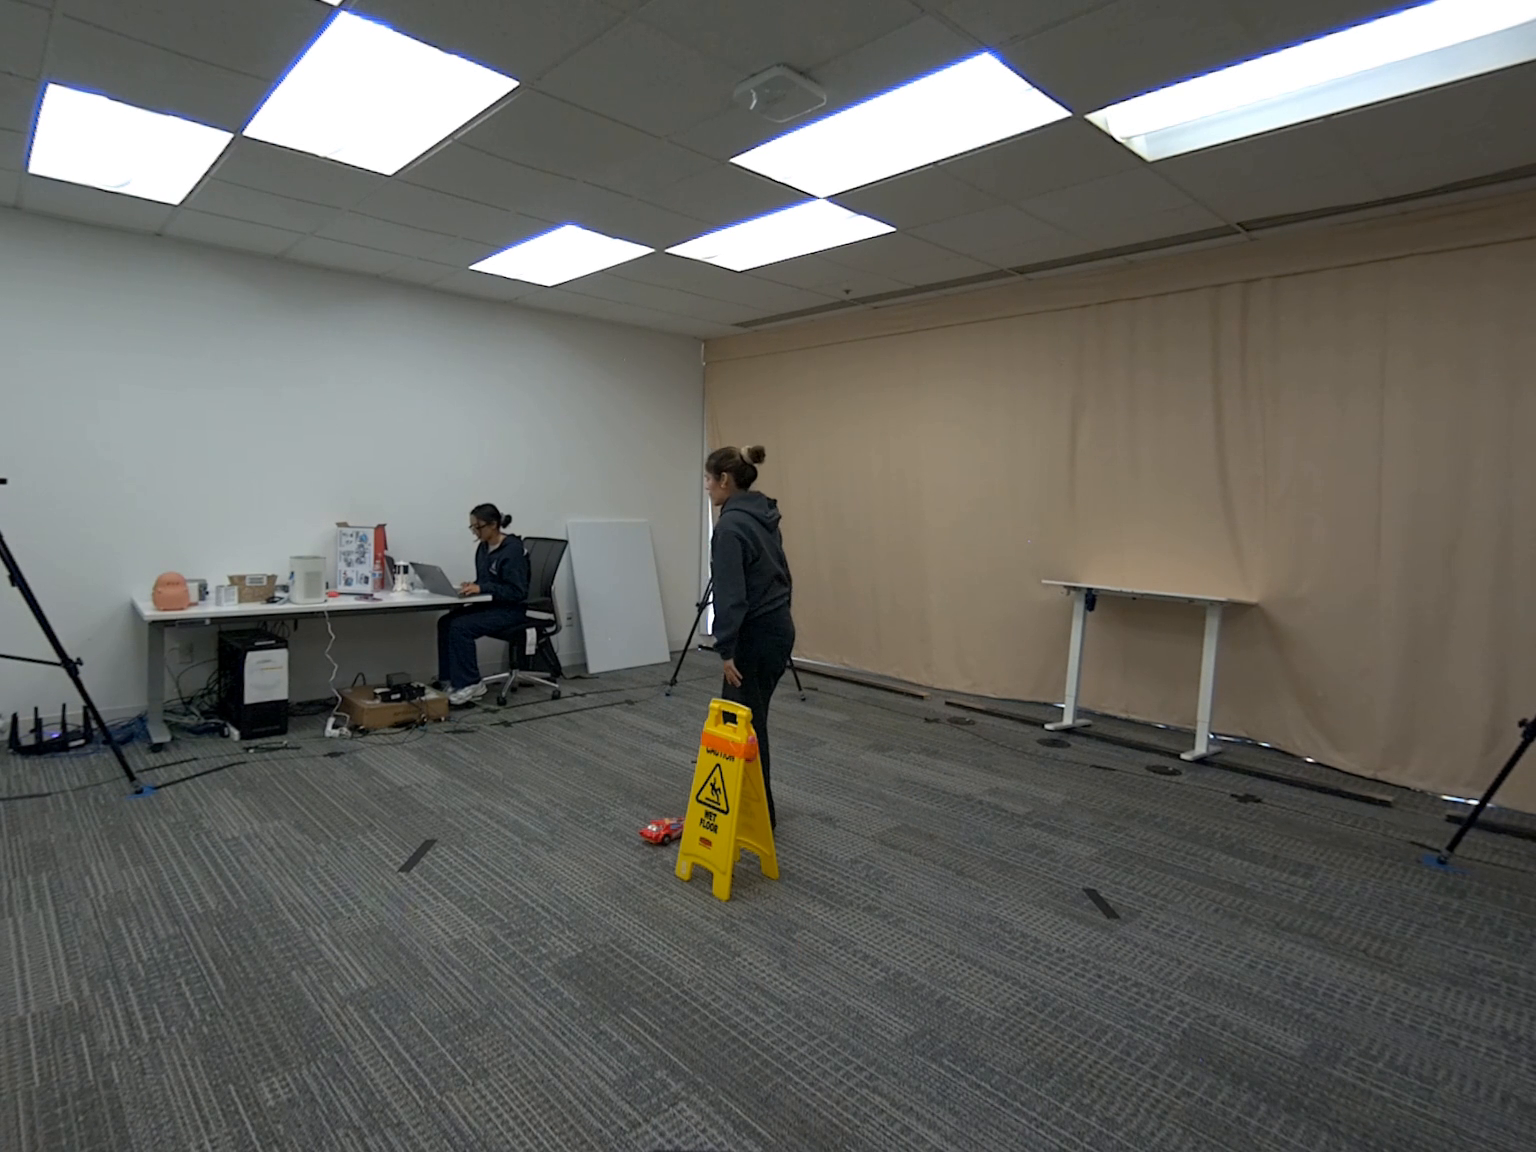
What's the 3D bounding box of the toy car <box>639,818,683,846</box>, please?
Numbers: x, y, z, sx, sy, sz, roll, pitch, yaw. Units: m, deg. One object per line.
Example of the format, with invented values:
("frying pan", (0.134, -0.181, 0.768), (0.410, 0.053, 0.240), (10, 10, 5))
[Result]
("toy car", (-0.426, 1.037, 3.439), (0.133, 0.083, 0.247), (5, -5, 42))
